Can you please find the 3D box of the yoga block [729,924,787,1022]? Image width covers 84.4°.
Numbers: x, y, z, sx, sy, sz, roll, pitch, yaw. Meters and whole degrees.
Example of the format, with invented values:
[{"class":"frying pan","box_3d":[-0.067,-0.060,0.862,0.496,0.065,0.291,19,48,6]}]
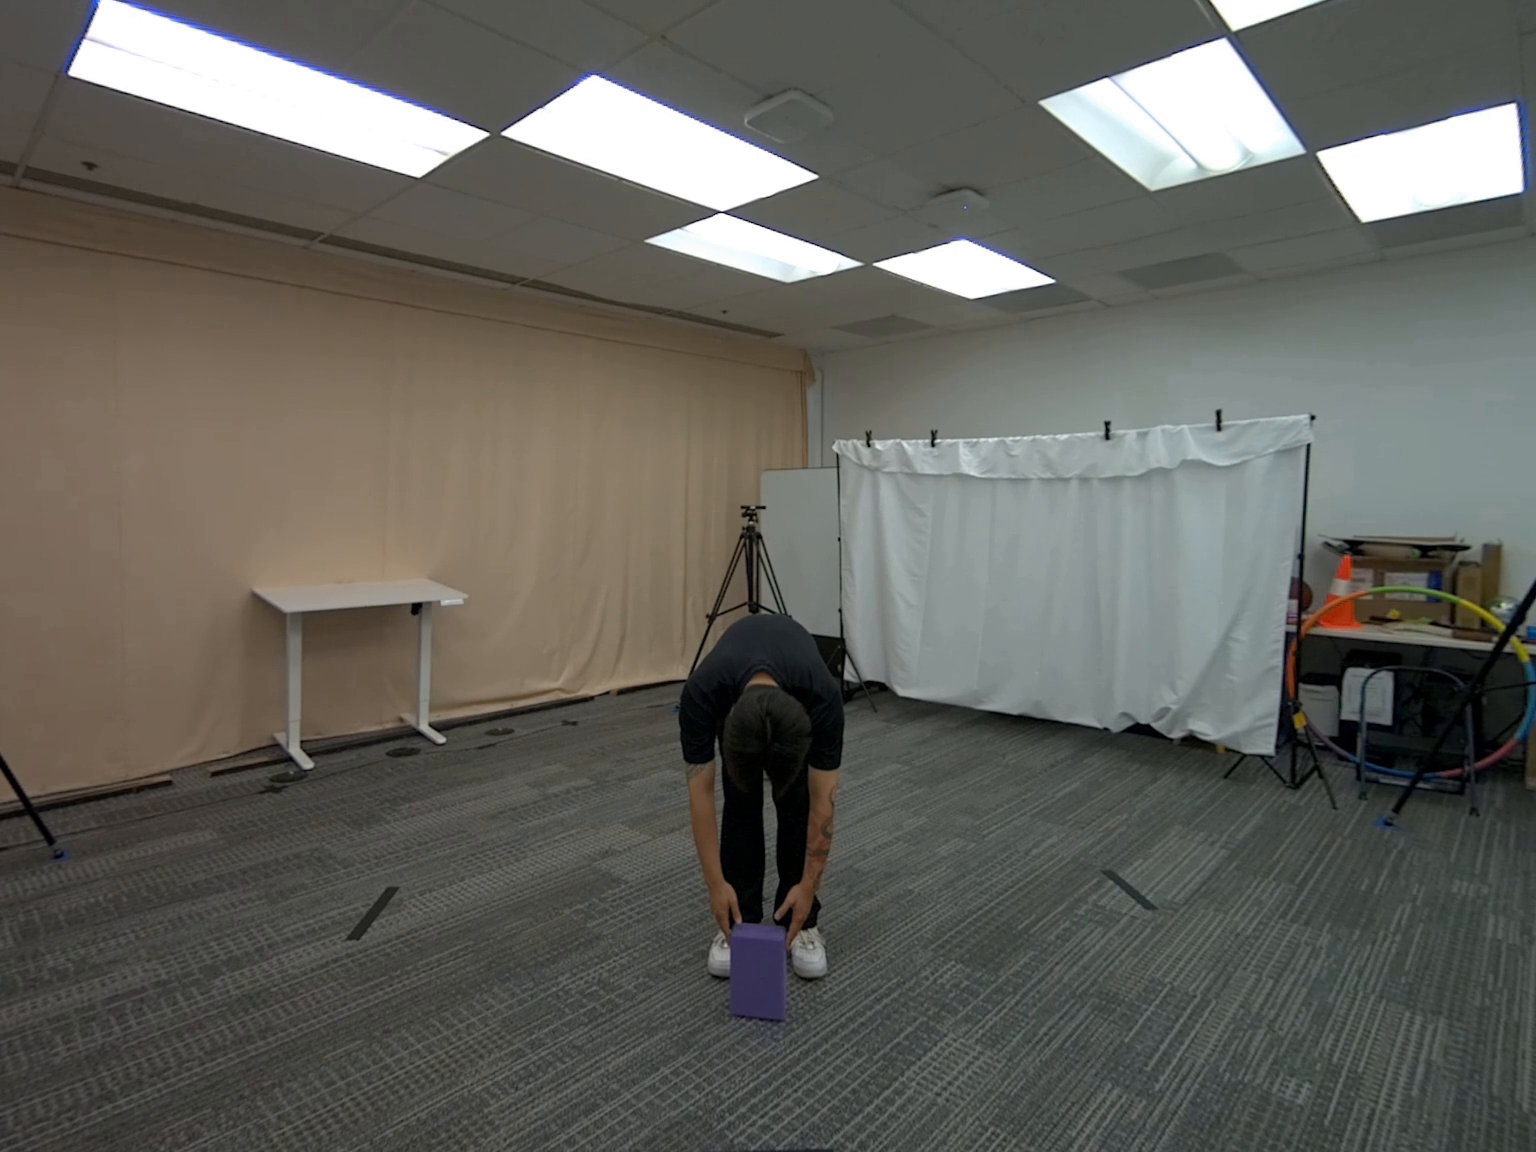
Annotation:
[{"class":"yoga block","box_3d":[-0.025,1.080,2.314,0.150,0.229,0.076,0,3,8]}]
